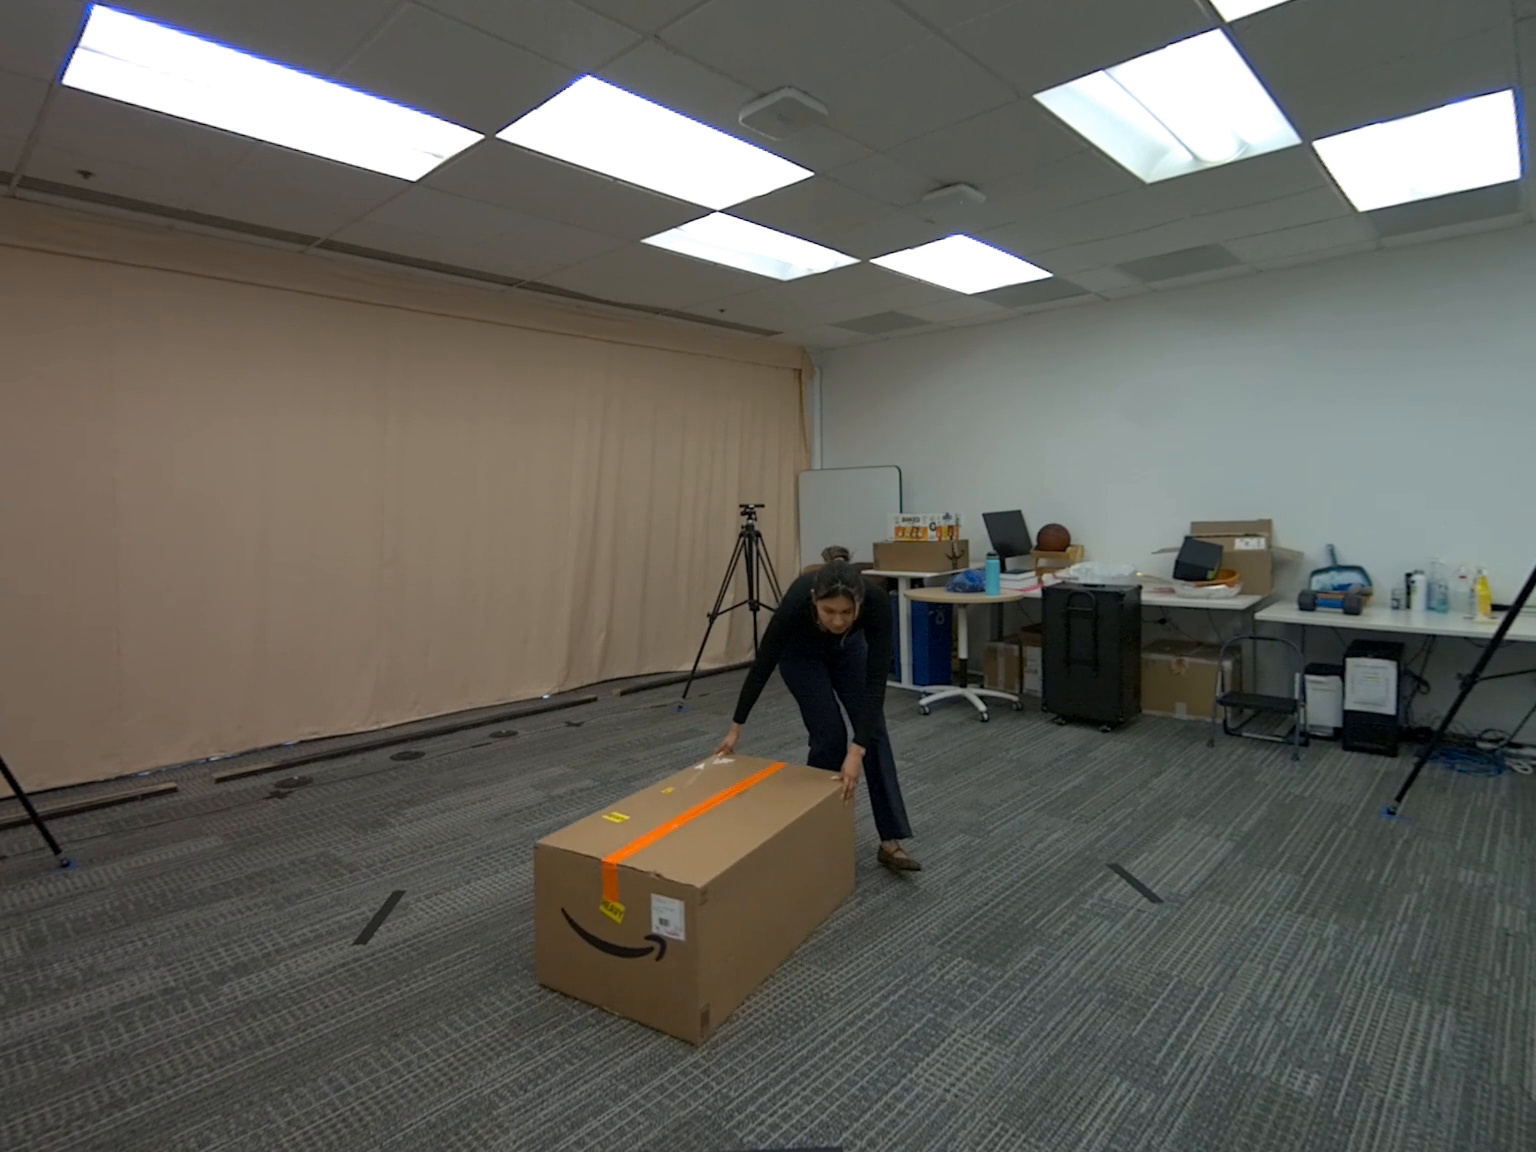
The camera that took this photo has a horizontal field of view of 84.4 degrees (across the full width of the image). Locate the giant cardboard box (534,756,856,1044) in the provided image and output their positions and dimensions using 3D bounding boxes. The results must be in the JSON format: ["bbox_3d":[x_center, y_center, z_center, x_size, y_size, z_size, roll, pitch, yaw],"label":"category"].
[{"bbox_3d":[-0.184,0.950,2.733,0.594,0.425,0.999,1,5,30],"label":"giant cardboard box"}]
